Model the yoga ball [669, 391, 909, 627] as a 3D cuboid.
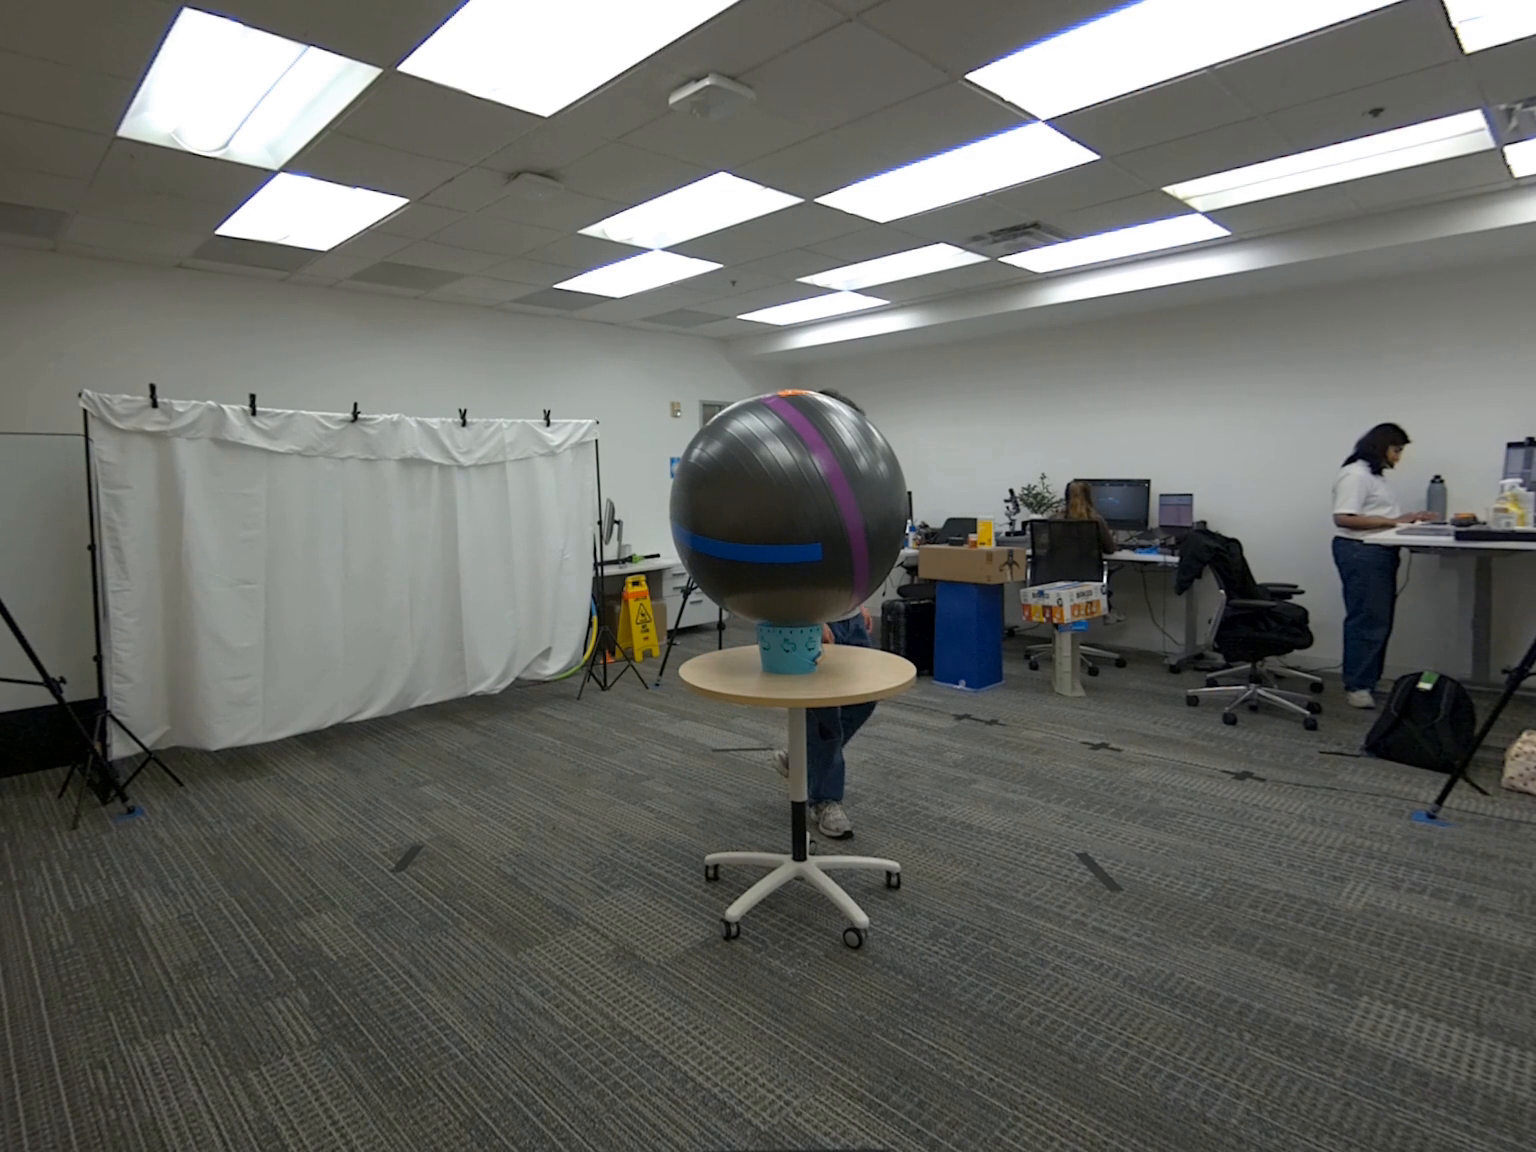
[{"bbox_3d":[0.069,-0.208,2.743,0.757,0.755,0.762,-1,5,-2],"label":"yoga ball"}]
